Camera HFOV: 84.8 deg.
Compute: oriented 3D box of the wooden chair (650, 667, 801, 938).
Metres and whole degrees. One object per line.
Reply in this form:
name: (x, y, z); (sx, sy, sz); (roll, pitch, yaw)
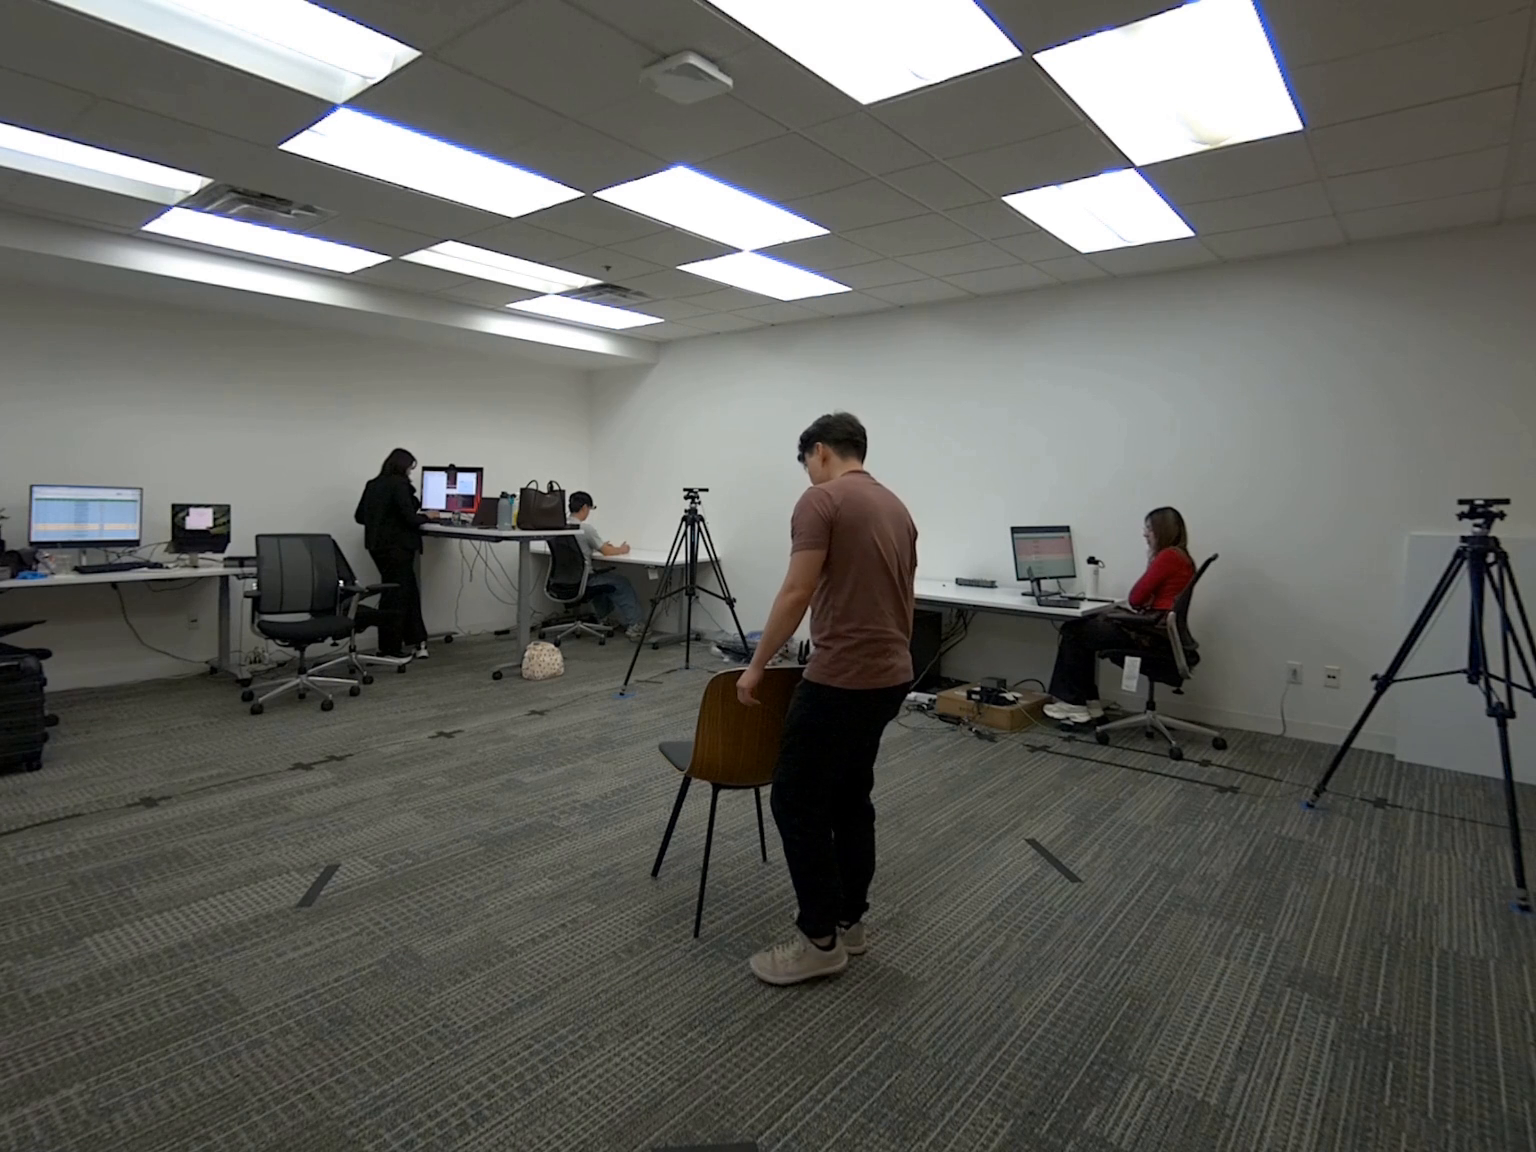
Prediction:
wooden chair: (-0.120, 0.667, 2.891); (0.467, 0.872, 0.538); (0, 8, -23)
